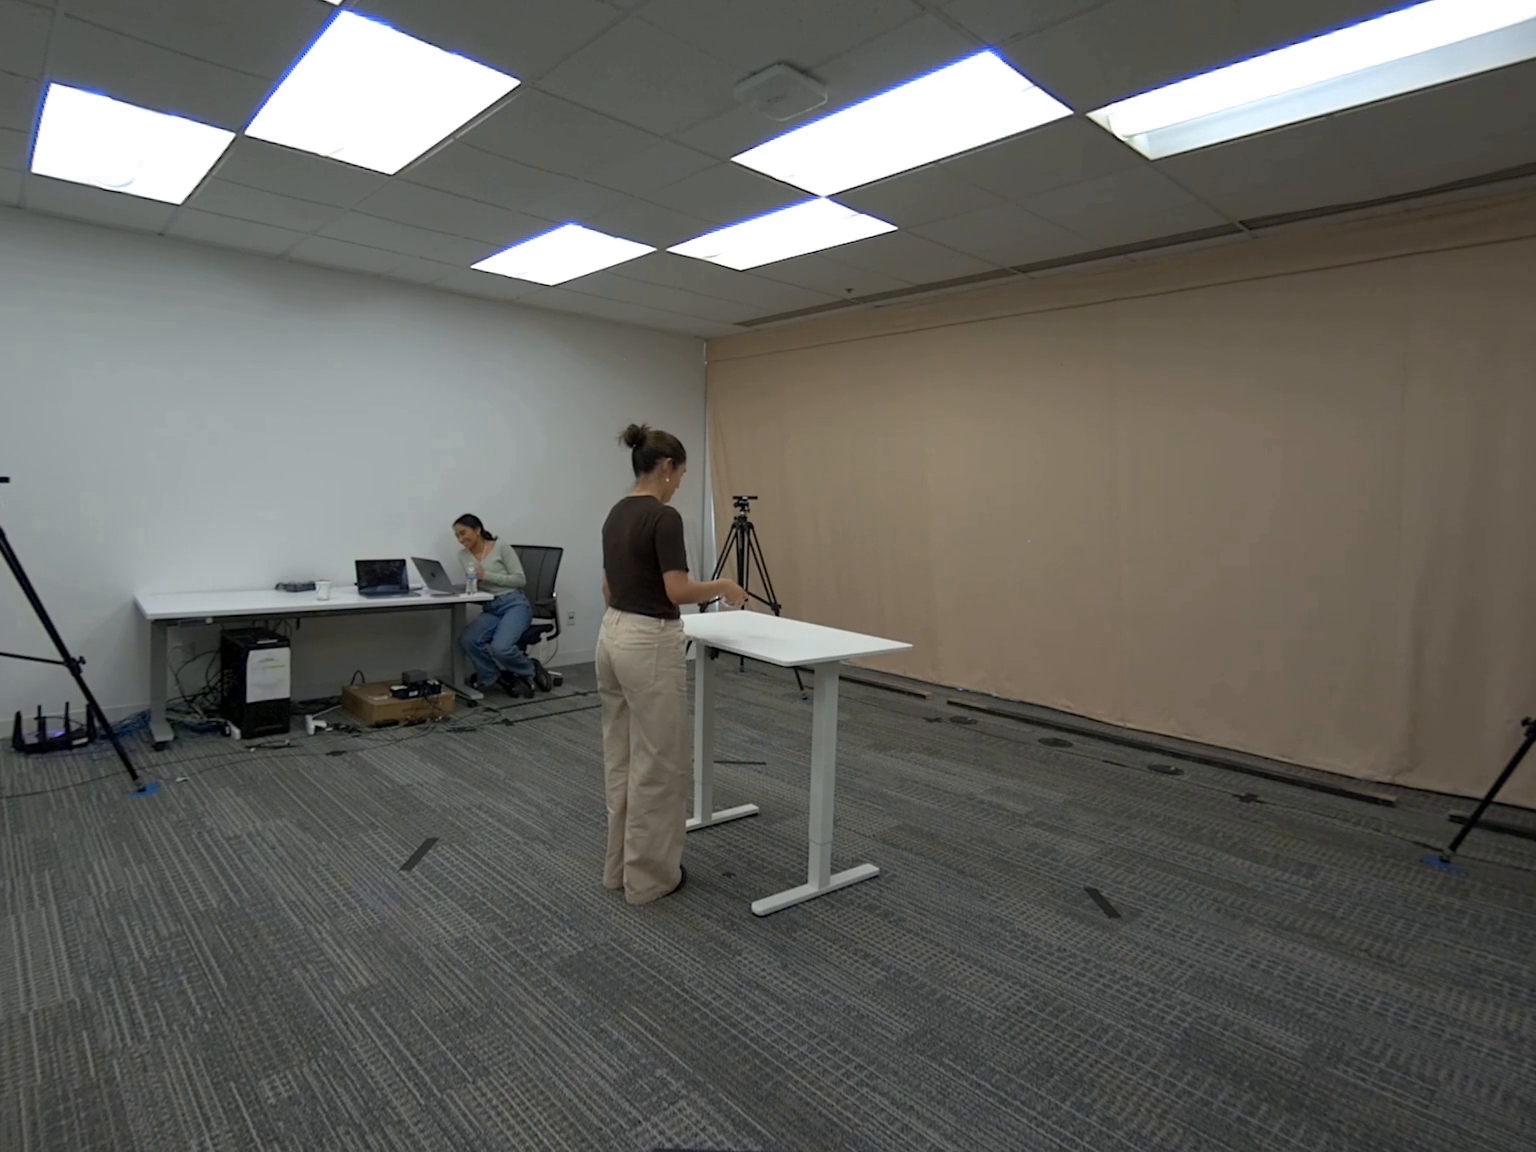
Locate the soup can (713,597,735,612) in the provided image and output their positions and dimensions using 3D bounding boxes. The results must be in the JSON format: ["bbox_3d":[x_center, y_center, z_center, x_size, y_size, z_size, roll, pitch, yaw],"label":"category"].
[{"bbox_3d":[-0.131,0.093,3.051,0.067,0.120,0.068,3,25,-3],"label":"soup can"}]
